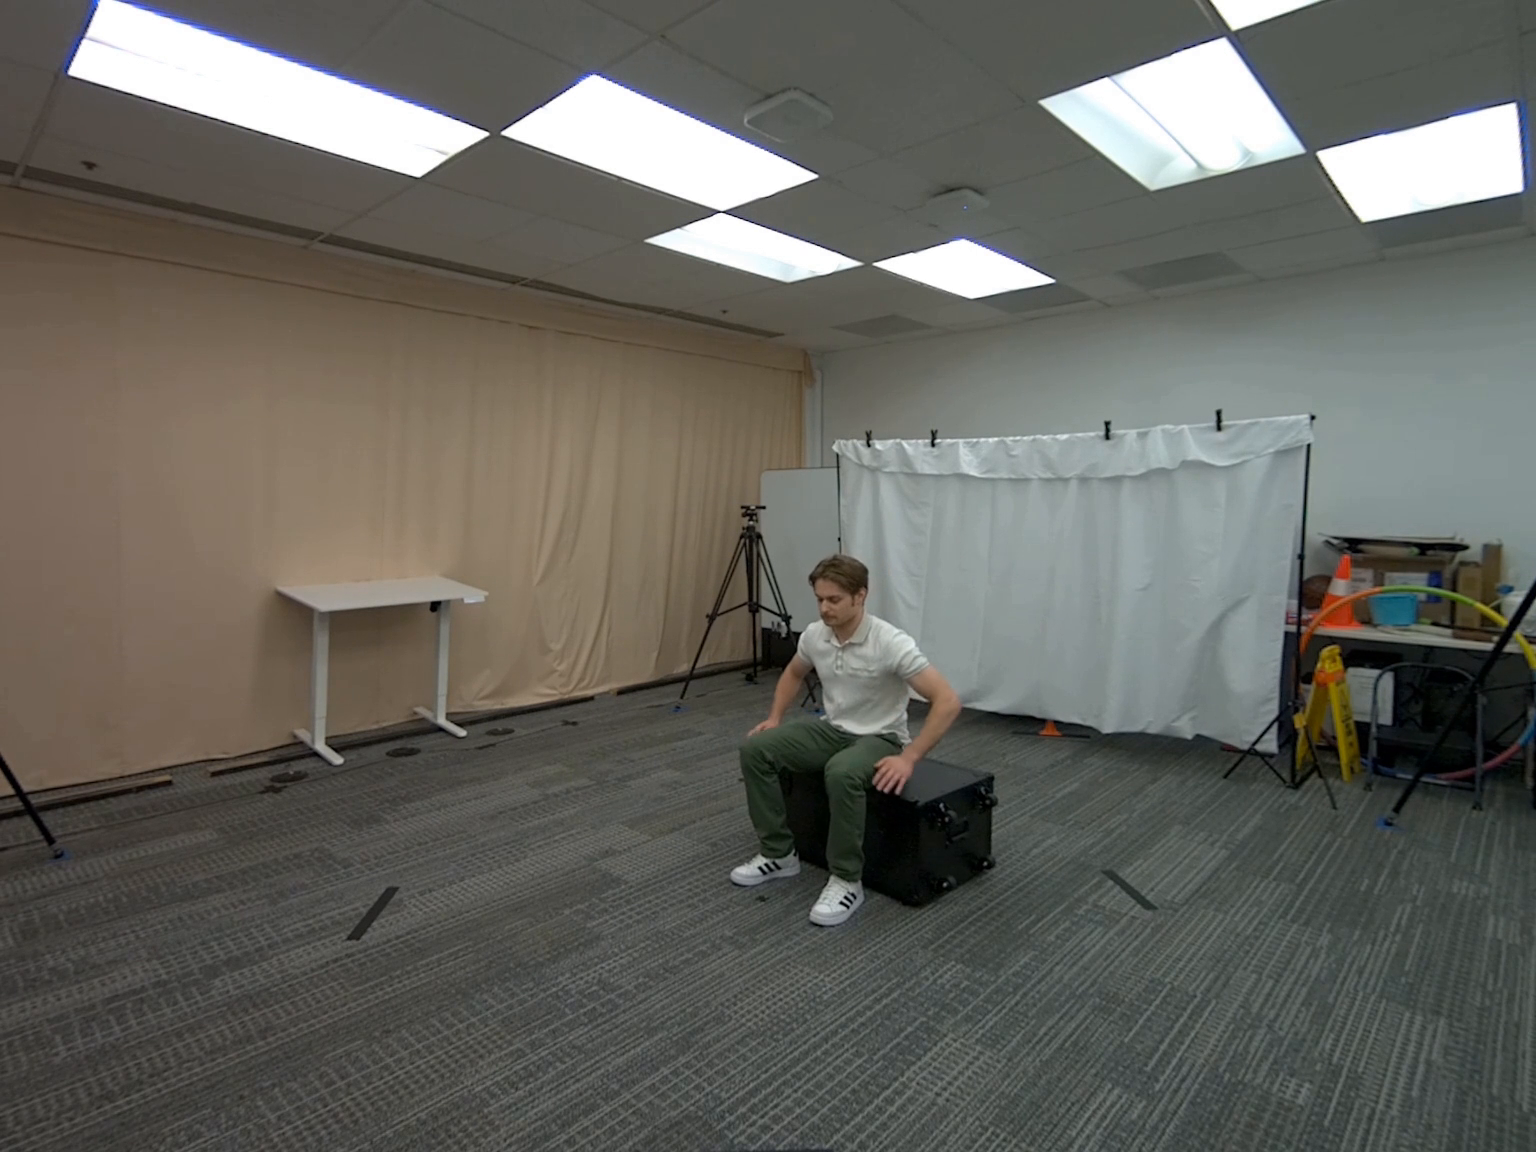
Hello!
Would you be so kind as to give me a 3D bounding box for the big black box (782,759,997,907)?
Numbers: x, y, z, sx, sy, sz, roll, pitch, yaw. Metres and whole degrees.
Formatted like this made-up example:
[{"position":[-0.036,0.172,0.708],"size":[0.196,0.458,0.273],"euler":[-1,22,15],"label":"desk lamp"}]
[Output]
[{"position":[0.434,0.925,3.292],"size":[0.507,0.384,0.897],"euler":[-2,4,-43],"label":"big black box"}]
